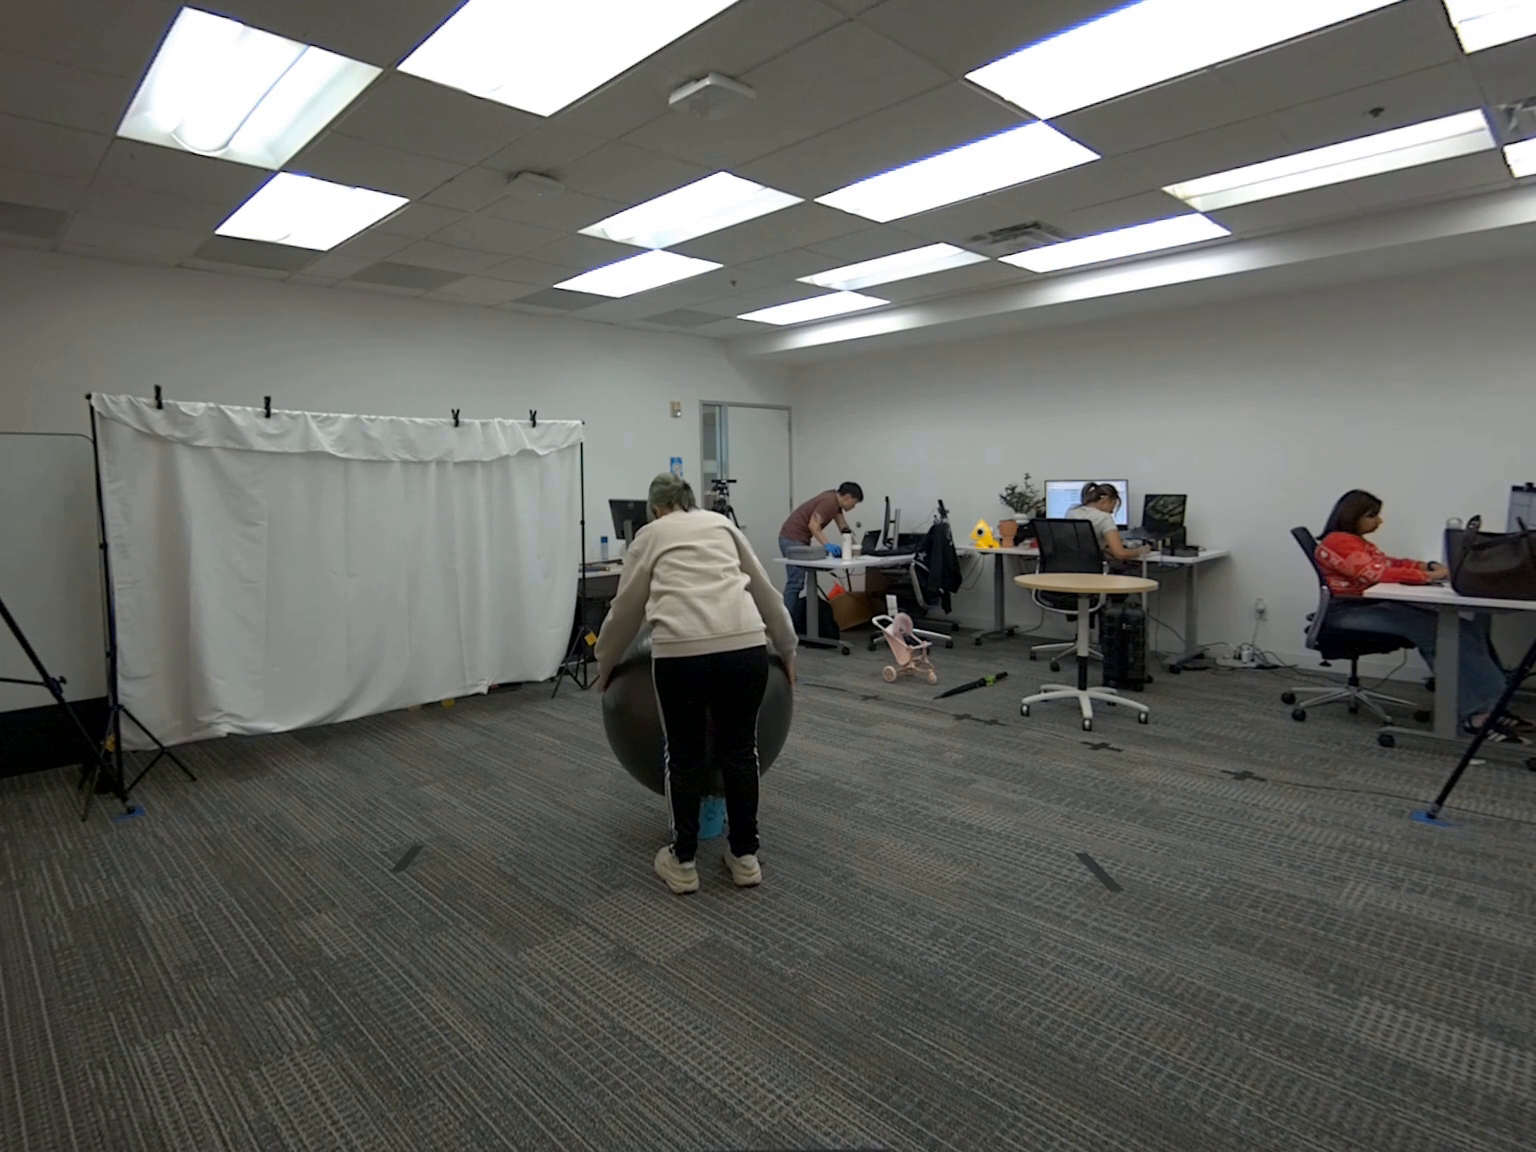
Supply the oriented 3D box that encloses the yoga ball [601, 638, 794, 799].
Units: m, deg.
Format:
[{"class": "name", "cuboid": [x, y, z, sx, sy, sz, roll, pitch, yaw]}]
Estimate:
[{"class": "yoga ball", "cuboid": [-0.279, 0.511, 3.413, 0.757, 0.755, 0.762, -1, 5, -2]}]
